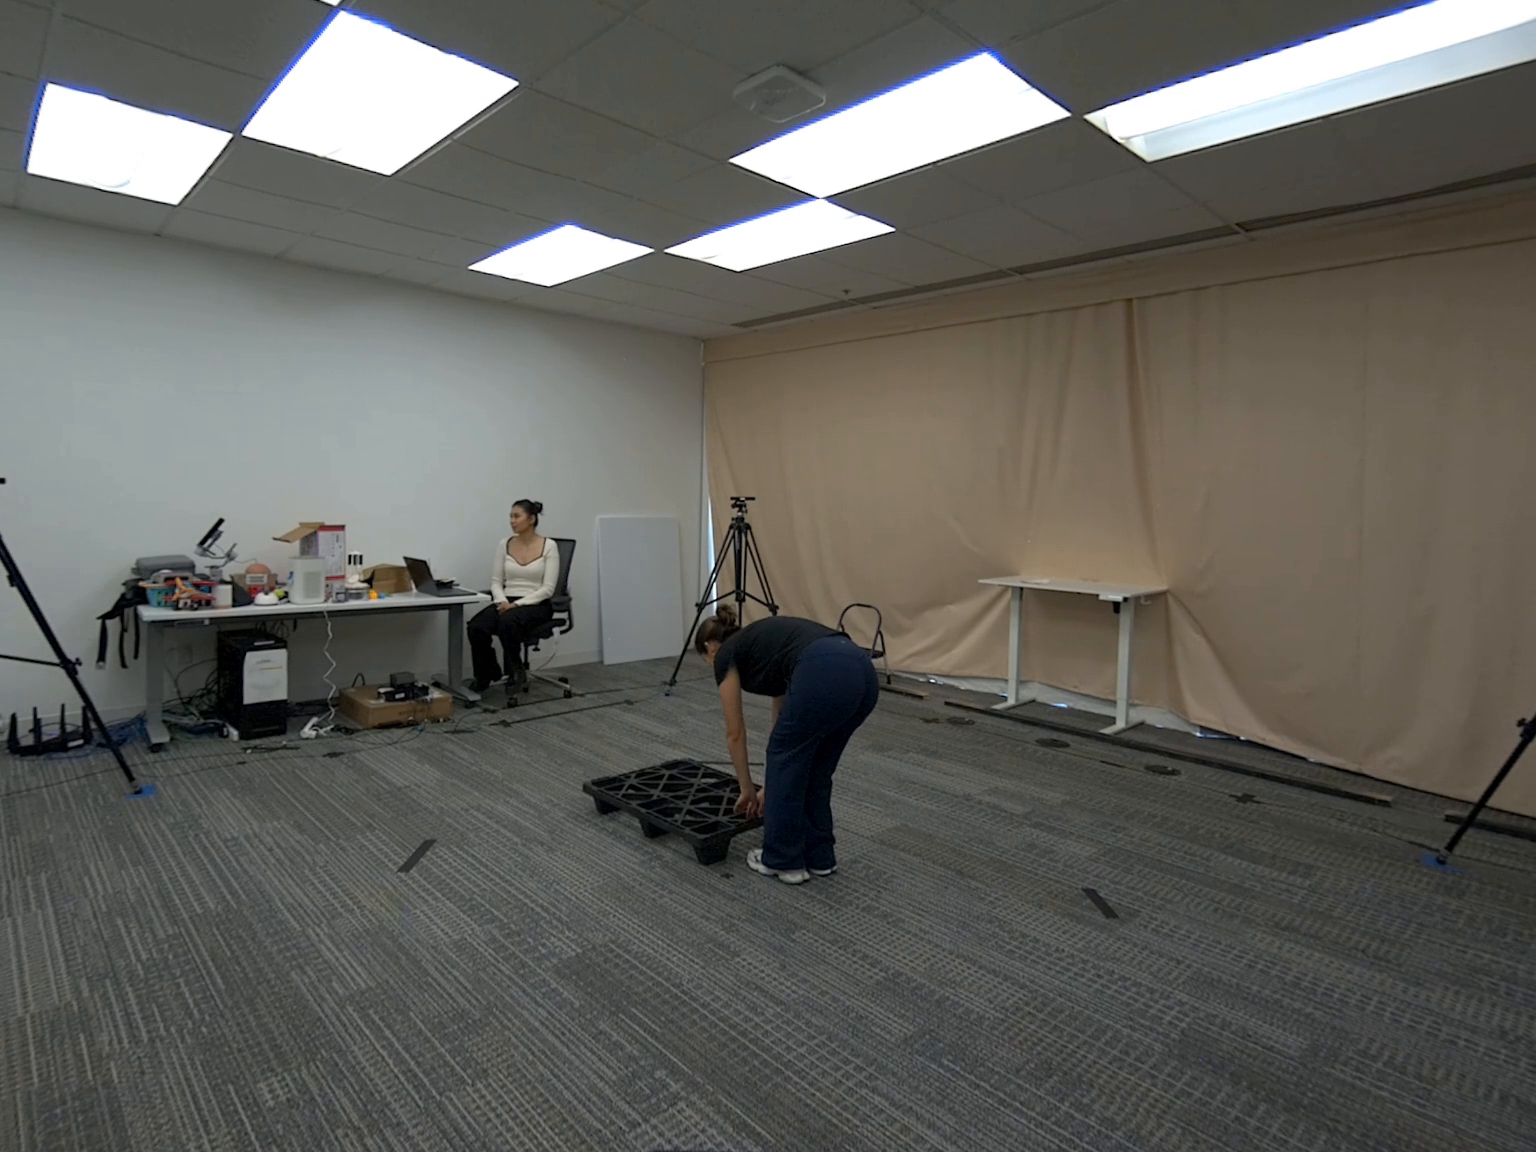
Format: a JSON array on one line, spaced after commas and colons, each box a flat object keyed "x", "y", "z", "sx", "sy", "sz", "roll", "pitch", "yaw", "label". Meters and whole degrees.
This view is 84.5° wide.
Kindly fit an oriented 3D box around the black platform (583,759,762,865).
[{"x": -0.334, "y": 0.998, "z": 3.585, "sx": 0.591, "sy": 0.143, "sz": 0.826, "roll": -5, "pitch": 7, "yaw": -44, "label": "black platform"}]
